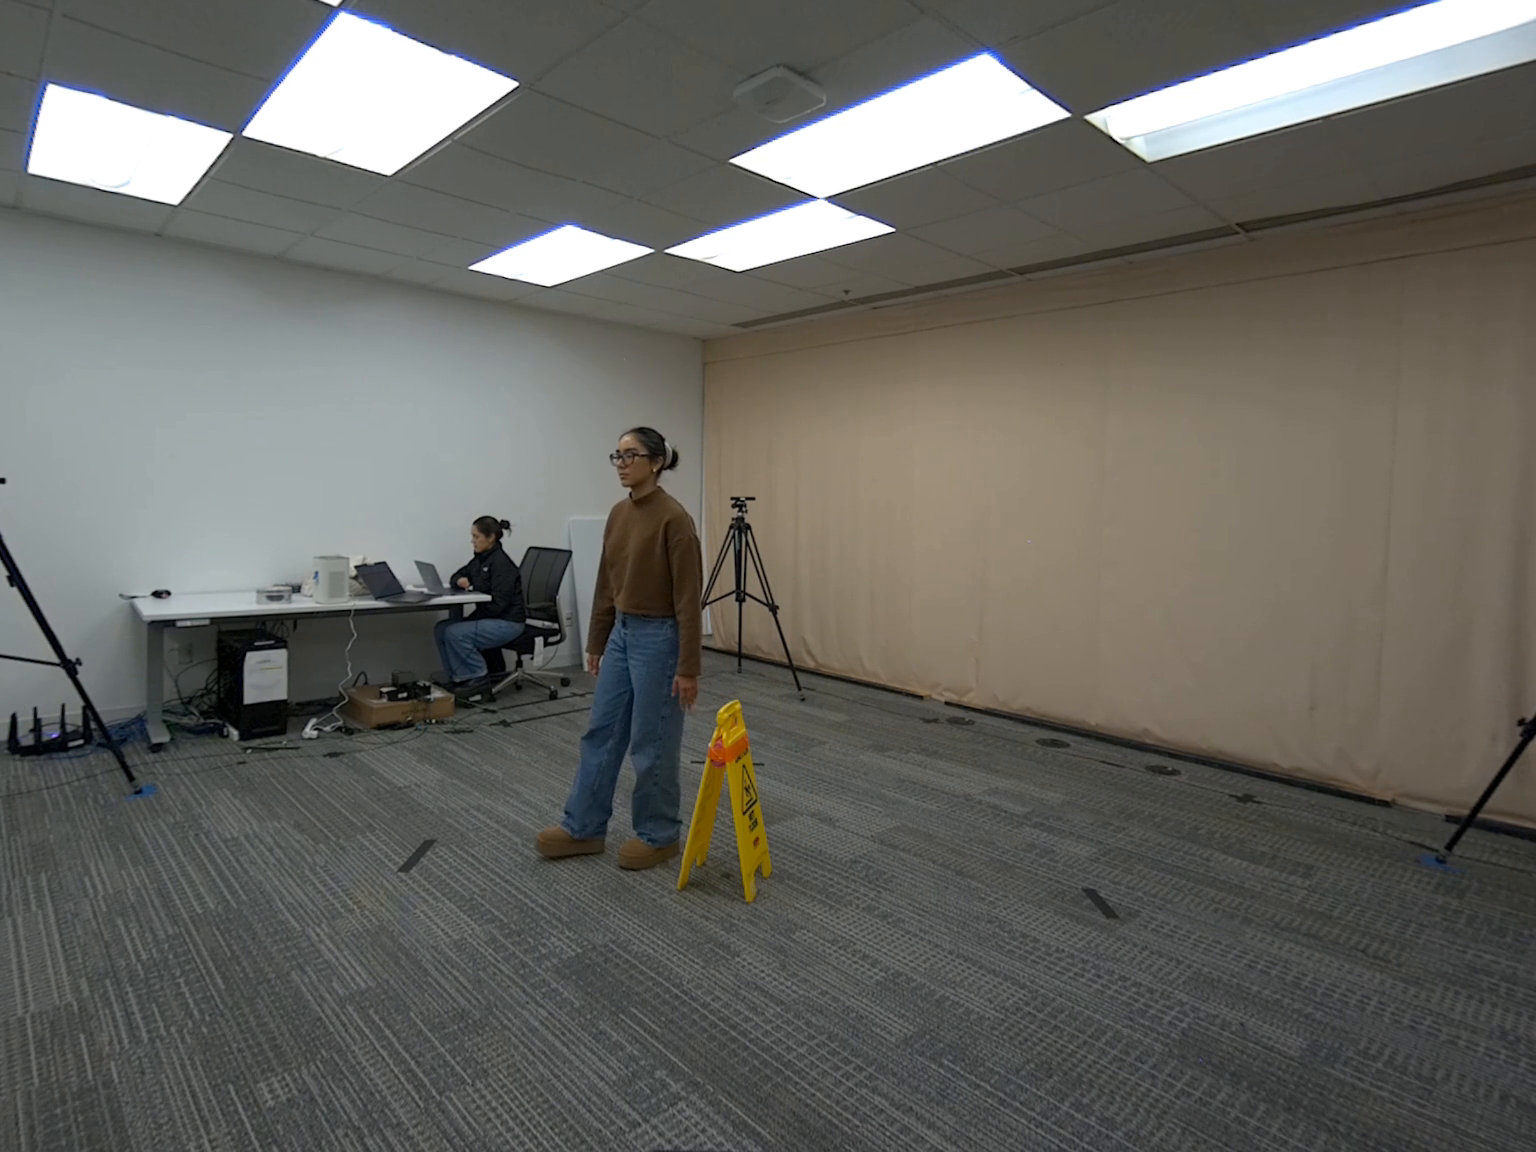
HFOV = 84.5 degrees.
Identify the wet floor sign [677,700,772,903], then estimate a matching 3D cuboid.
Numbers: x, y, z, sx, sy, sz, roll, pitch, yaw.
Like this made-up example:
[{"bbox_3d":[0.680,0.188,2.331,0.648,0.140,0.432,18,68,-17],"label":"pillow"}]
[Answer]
[{"bbox_3d":[-0.149,0.789,3.040,0.294,0.644,0.279,3,4,18],"label":"wet floor sign"}]
